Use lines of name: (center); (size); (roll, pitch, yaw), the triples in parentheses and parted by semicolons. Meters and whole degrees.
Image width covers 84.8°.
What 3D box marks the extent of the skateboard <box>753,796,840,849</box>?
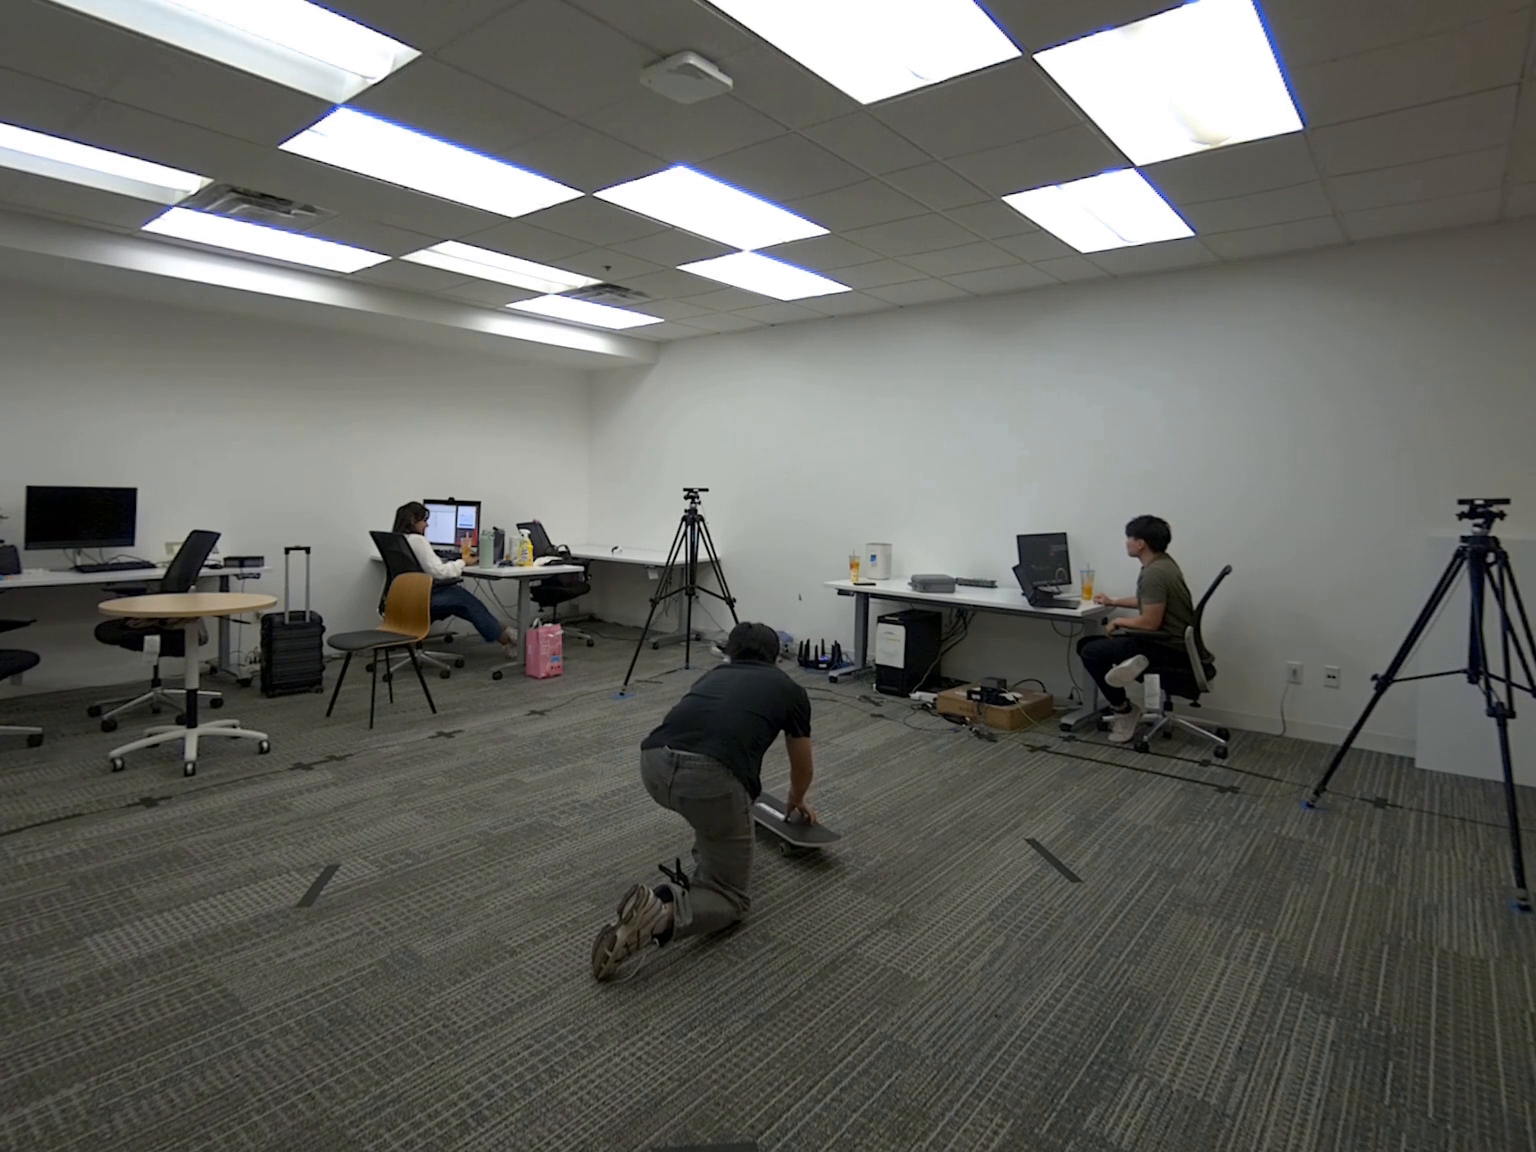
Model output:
skateboard: (0.013, 0.987, 3.456); (0.188, 0.110, 0.811); (-2, 6, -33)
